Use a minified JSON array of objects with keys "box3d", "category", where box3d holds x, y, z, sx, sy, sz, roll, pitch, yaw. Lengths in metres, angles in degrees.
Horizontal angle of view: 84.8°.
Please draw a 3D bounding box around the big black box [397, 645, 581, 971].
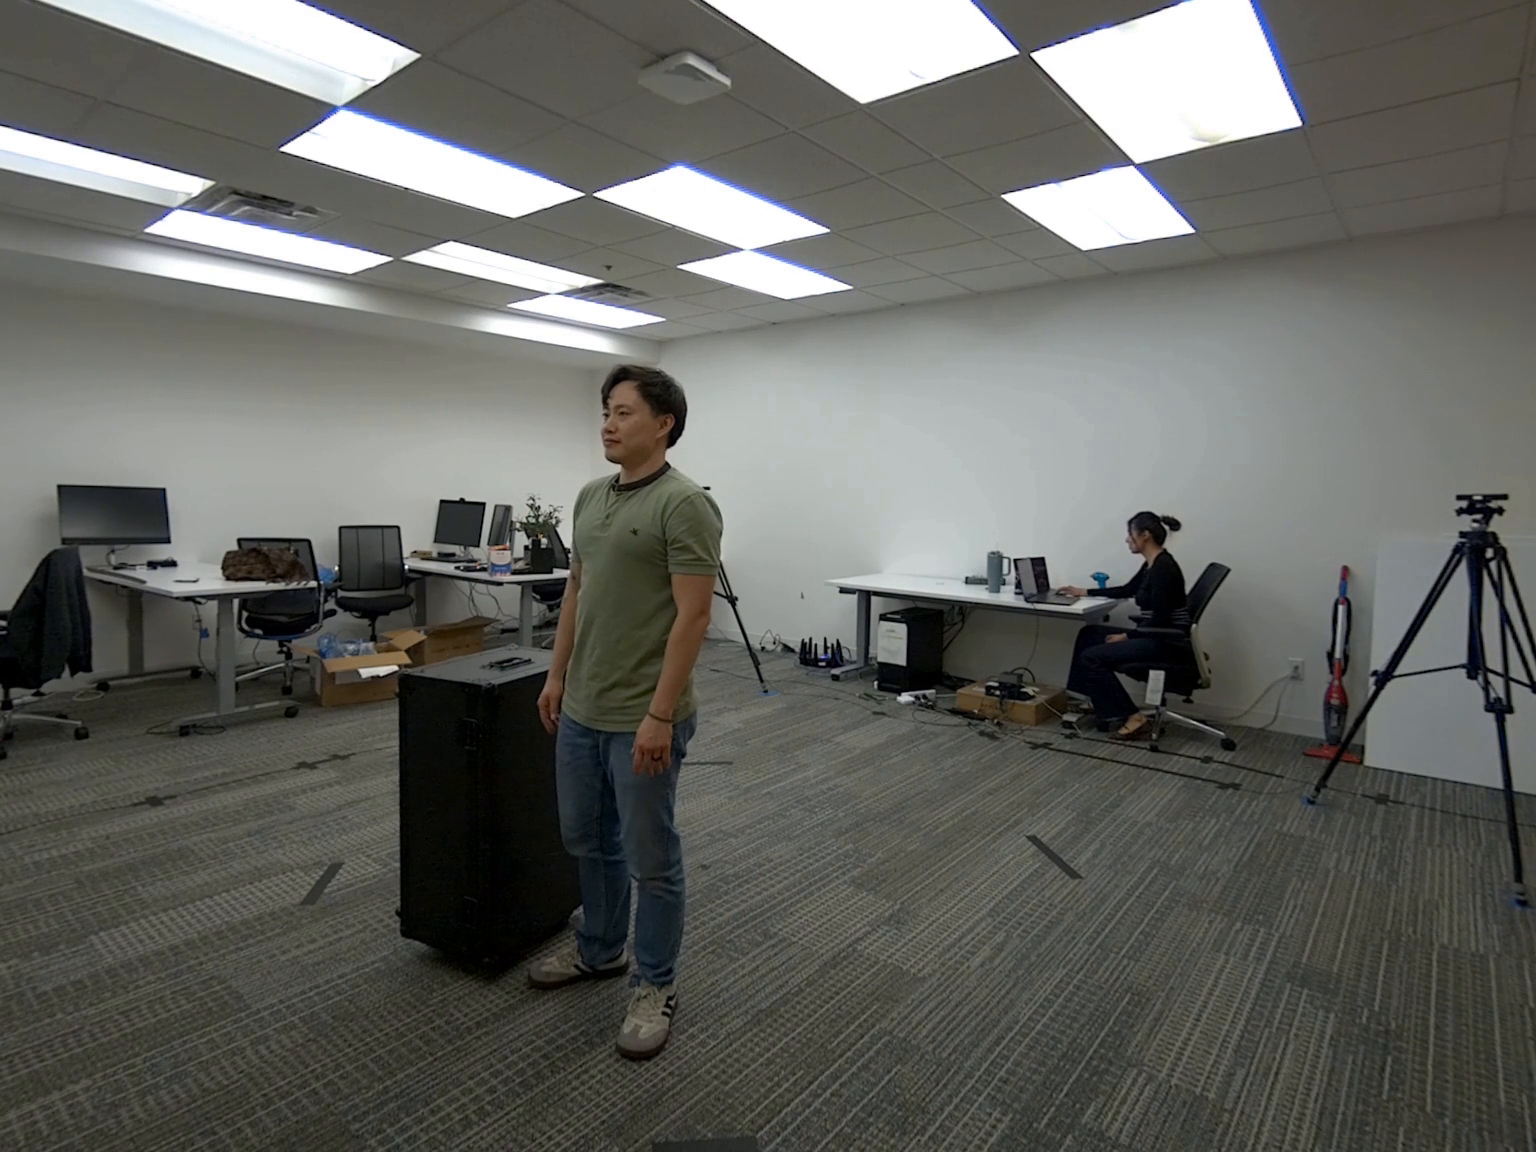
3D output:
[{"box3d":[-0.842,0.687,2.596,0.407,0.859,0.509,1,4,27],"category":"big black box"}]
